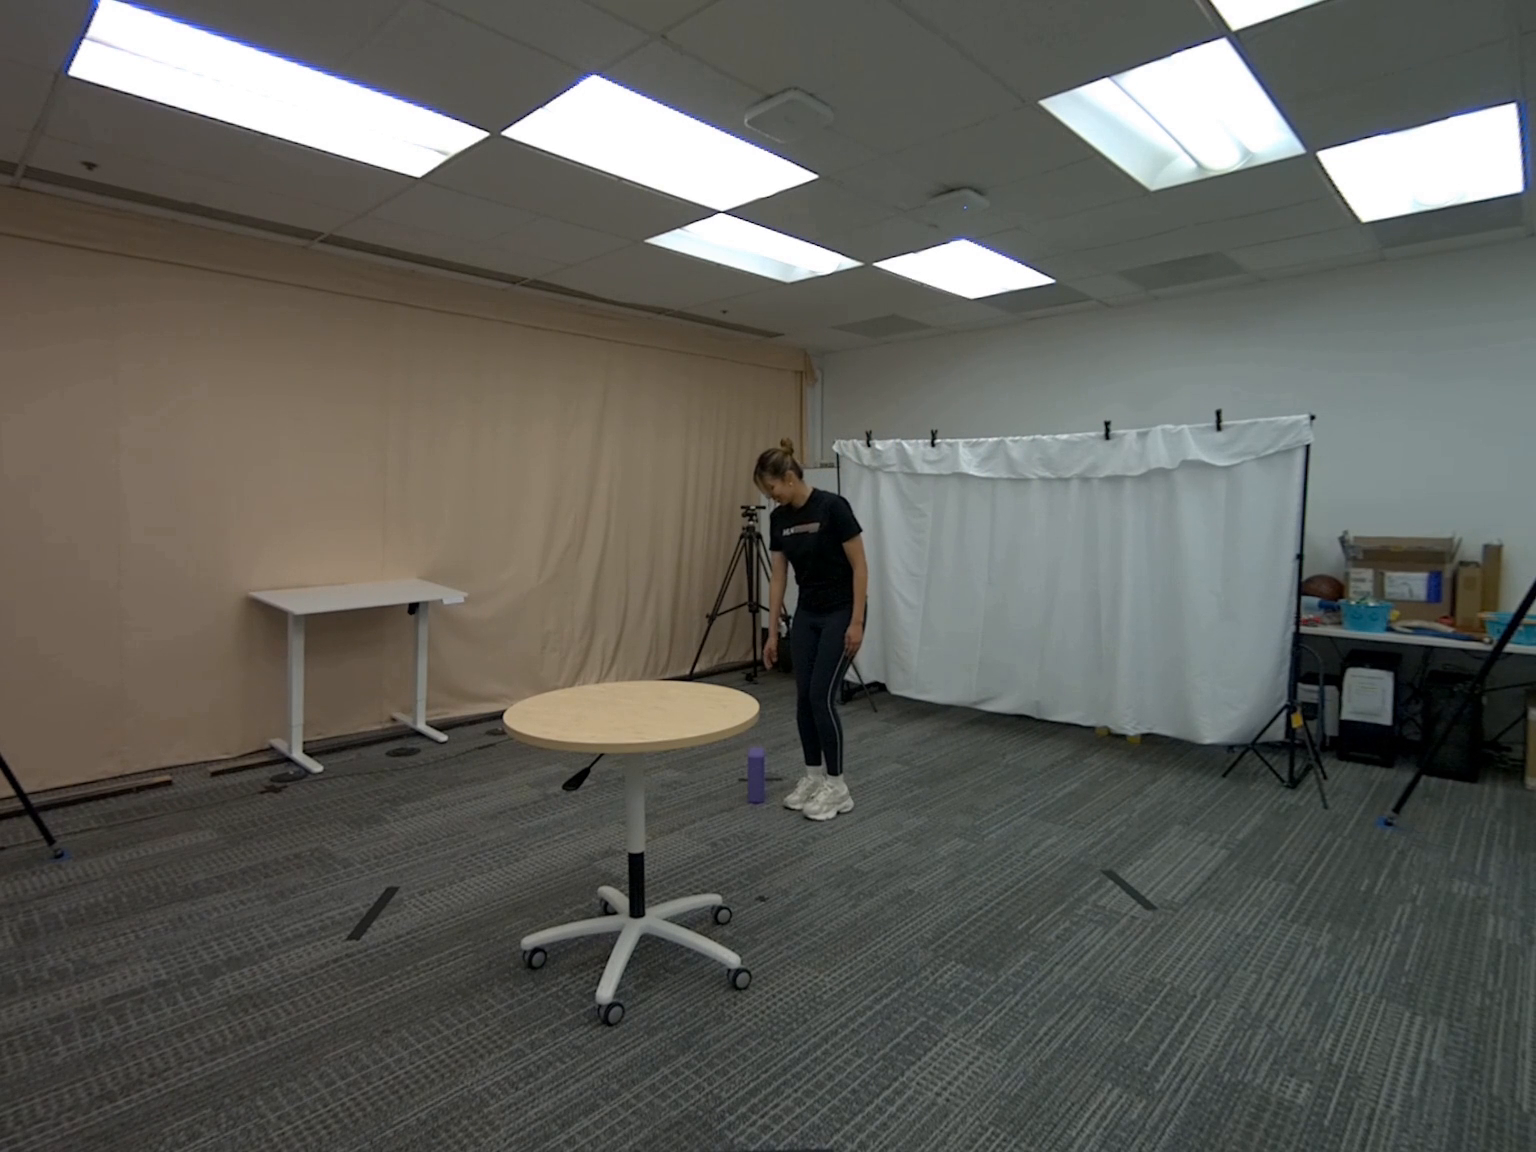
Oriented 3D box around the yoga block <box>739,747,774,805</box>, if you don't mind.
[{"bbox_3d":[-0.053,0.951,4.018,0.076,0.229,0.148,-1,-2,1],"label":"yoga block"}]
